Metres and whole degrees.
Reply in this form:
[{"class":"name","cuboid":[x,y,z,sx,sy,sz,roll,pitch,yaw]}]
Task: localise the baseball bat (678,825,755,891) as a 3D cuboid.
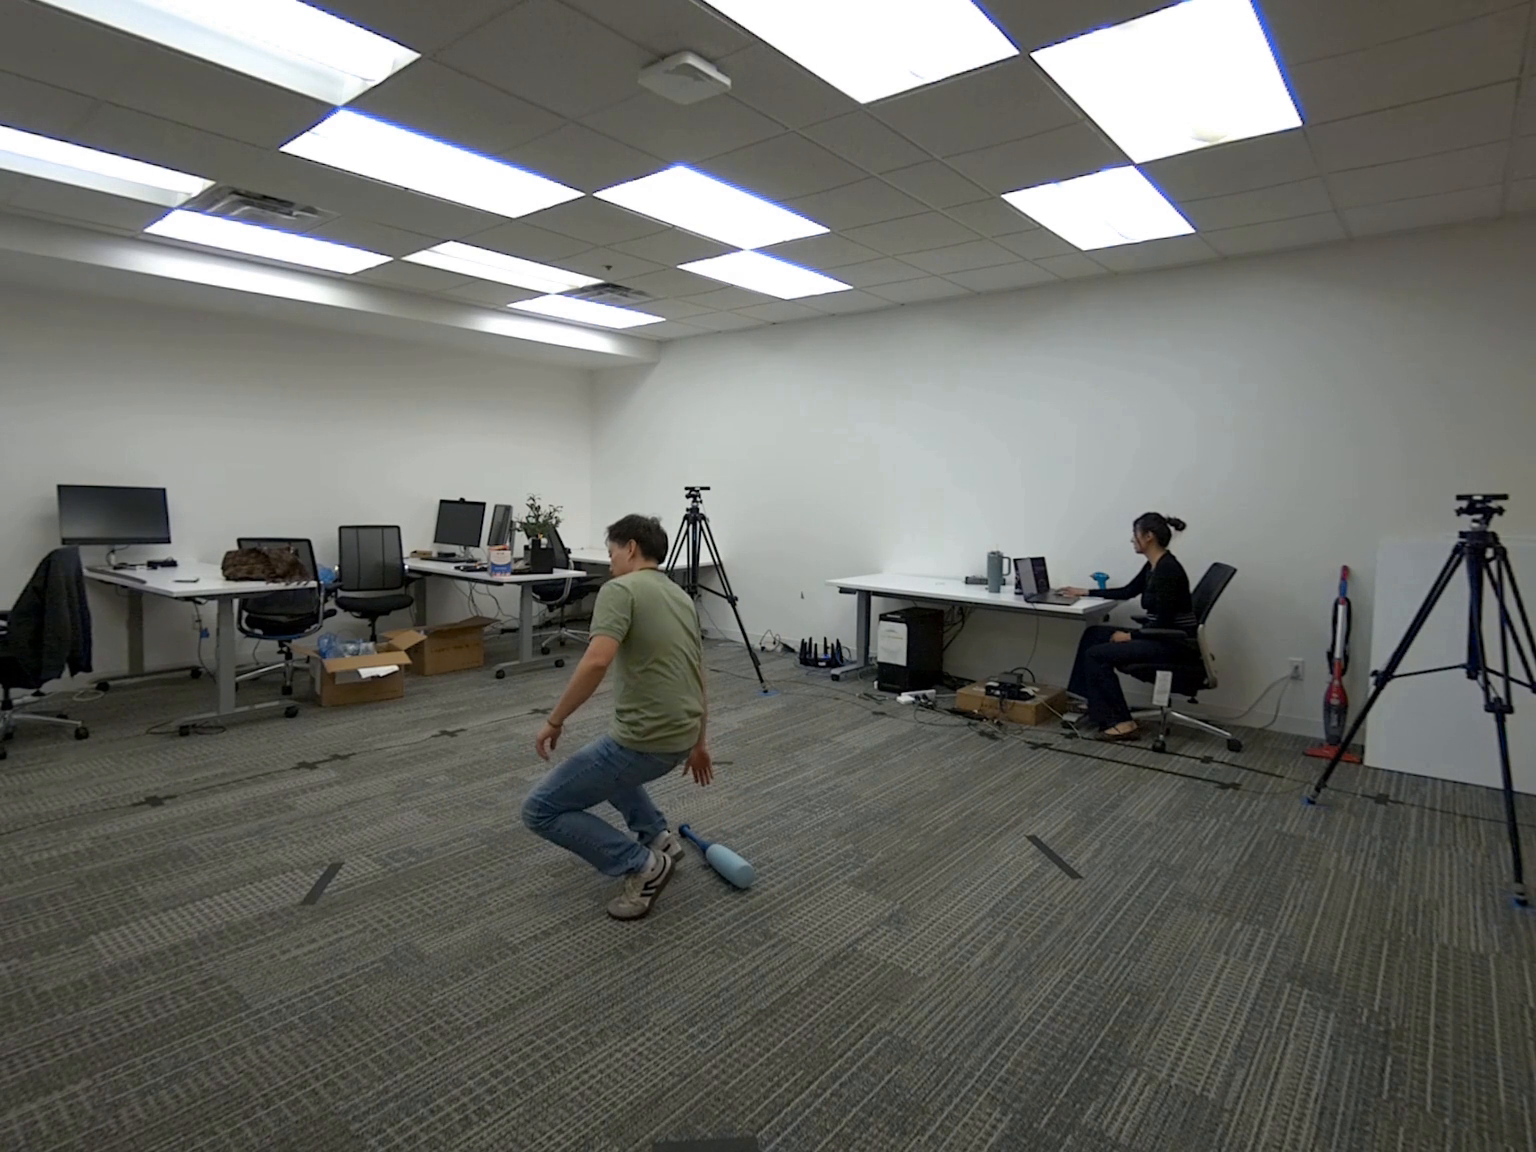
[{"class":"baseball bat","cuboid":[-0.224,1.020,3.158,0.087,0.089,0.555,-1,1,-26]}]
